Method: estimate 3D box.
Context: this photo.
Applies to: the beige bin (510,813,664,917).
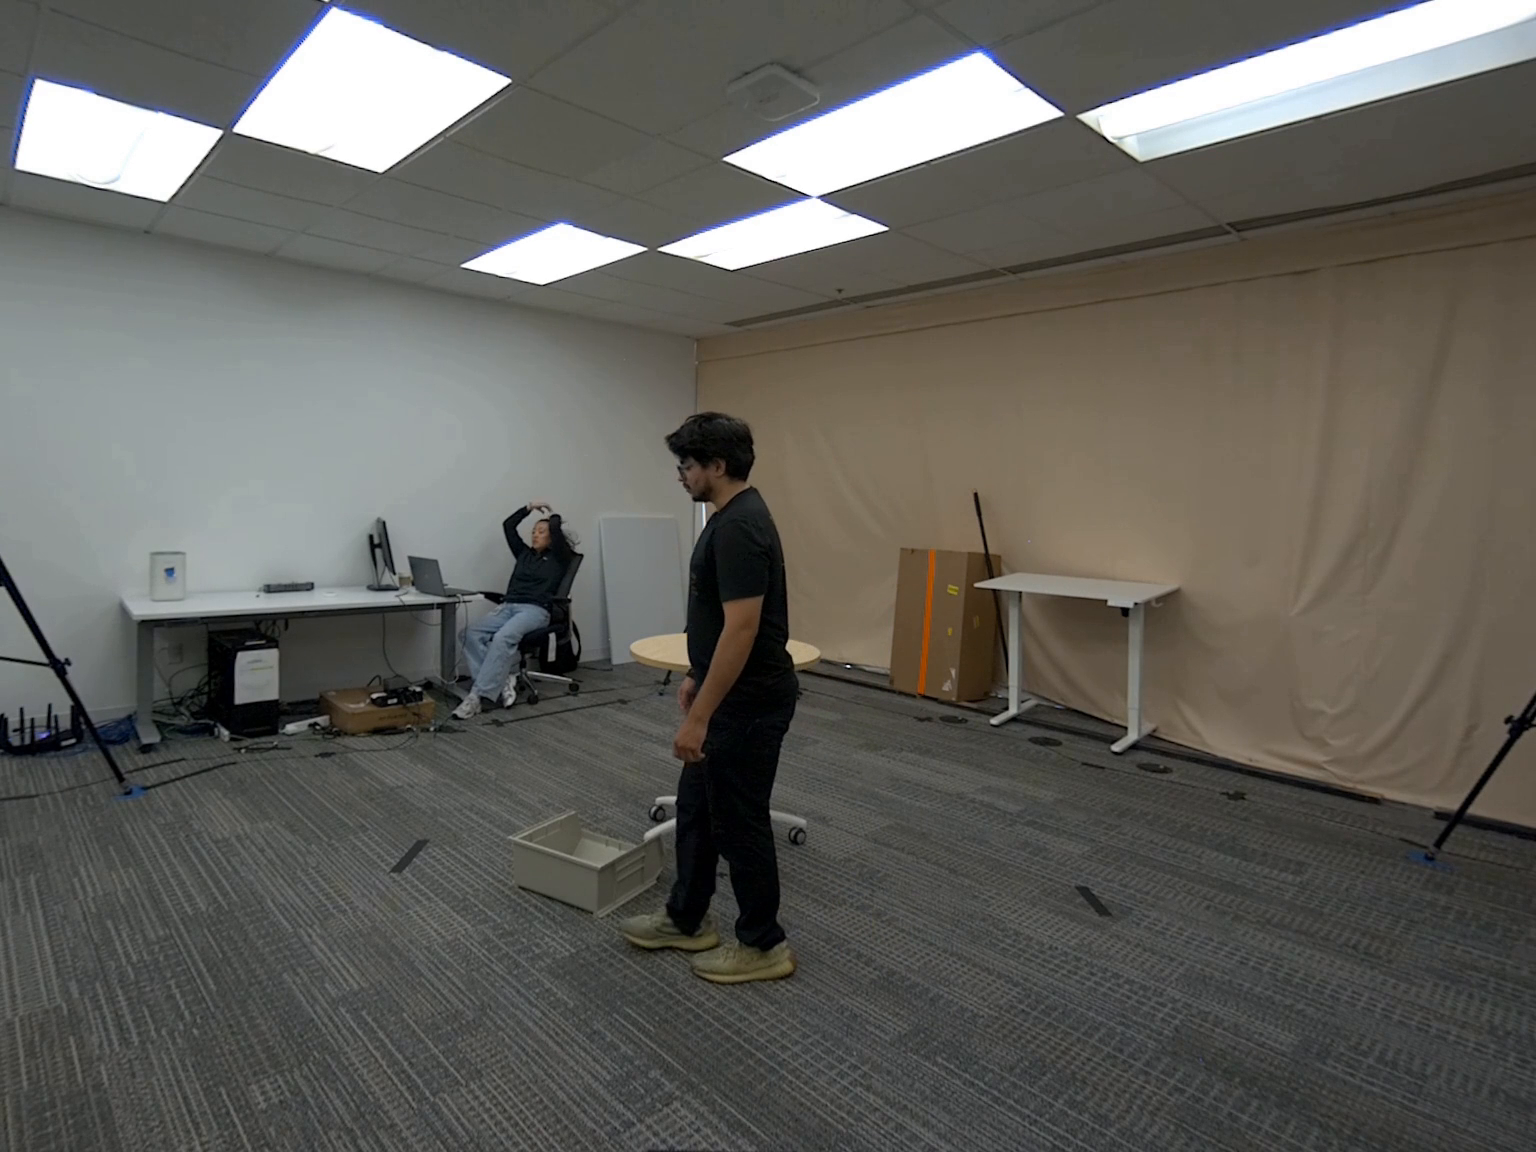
[{"bbox_3d":[-0.650,1.012,3.015,0.432,0.188,0.370,5,7,30],"label":"beige bin"}]
